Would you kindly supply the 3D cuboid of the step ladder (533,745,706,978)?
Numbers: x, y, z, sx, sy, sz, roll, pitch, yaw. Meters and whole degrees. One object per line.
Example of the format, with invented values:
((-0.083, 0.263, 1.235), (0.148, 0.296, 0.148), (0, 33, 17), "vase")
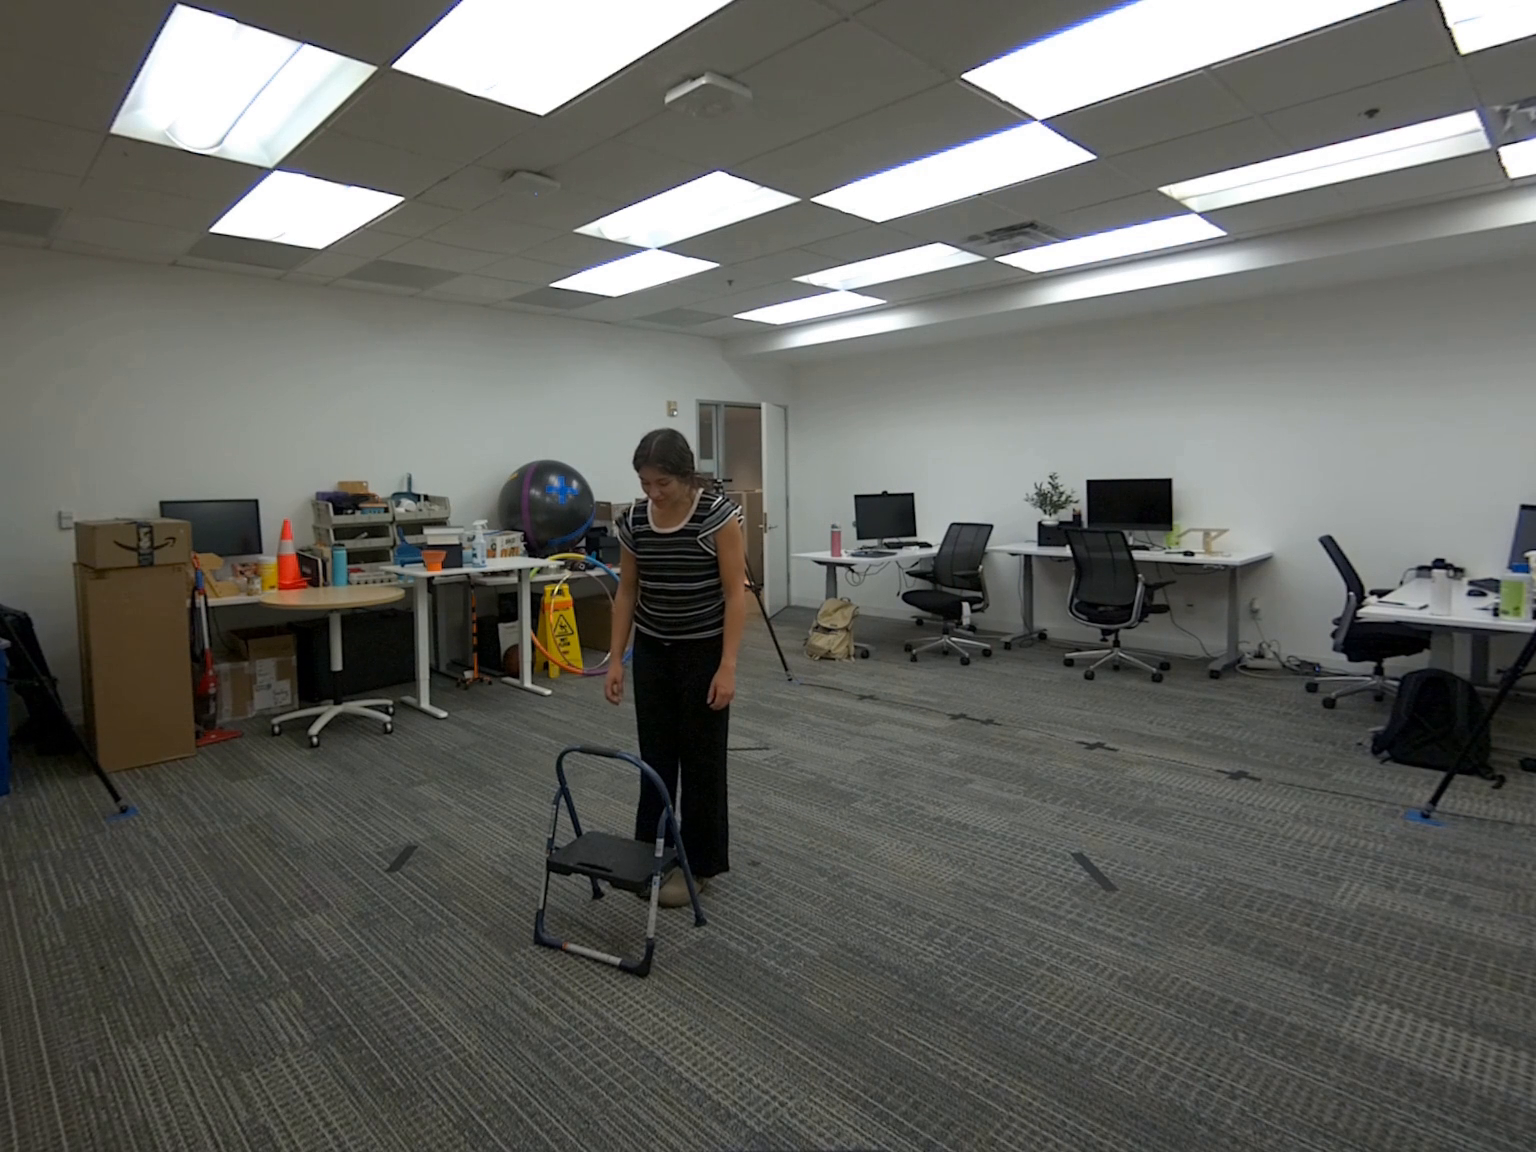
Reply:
((-0.464, 0.808, 2.626), (0.441, 0.604, 0.342), (1, 5, 27), "step ladder")
